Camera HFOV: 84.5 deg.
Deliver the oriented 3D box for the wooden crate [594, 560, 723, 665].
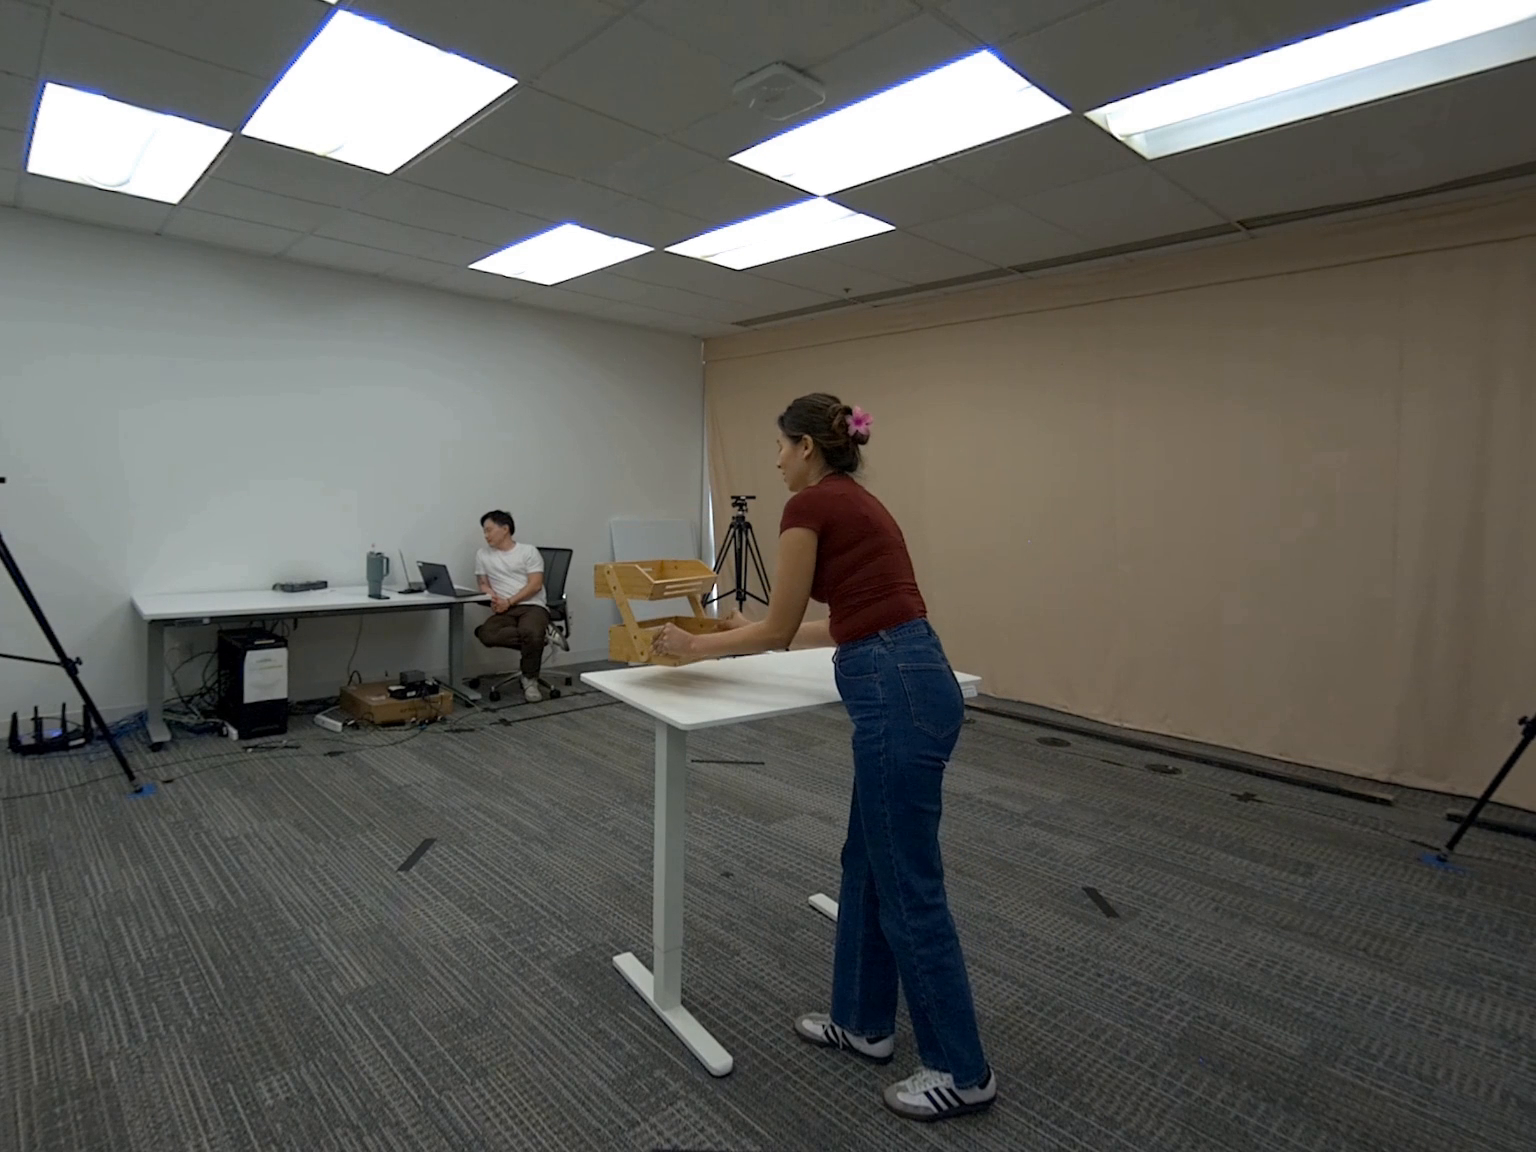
[{"bbox_3d":[-0.273,0.090,2.347,0.308,0.273,0.318,0,3,31],"label":"wooden crate"}]
